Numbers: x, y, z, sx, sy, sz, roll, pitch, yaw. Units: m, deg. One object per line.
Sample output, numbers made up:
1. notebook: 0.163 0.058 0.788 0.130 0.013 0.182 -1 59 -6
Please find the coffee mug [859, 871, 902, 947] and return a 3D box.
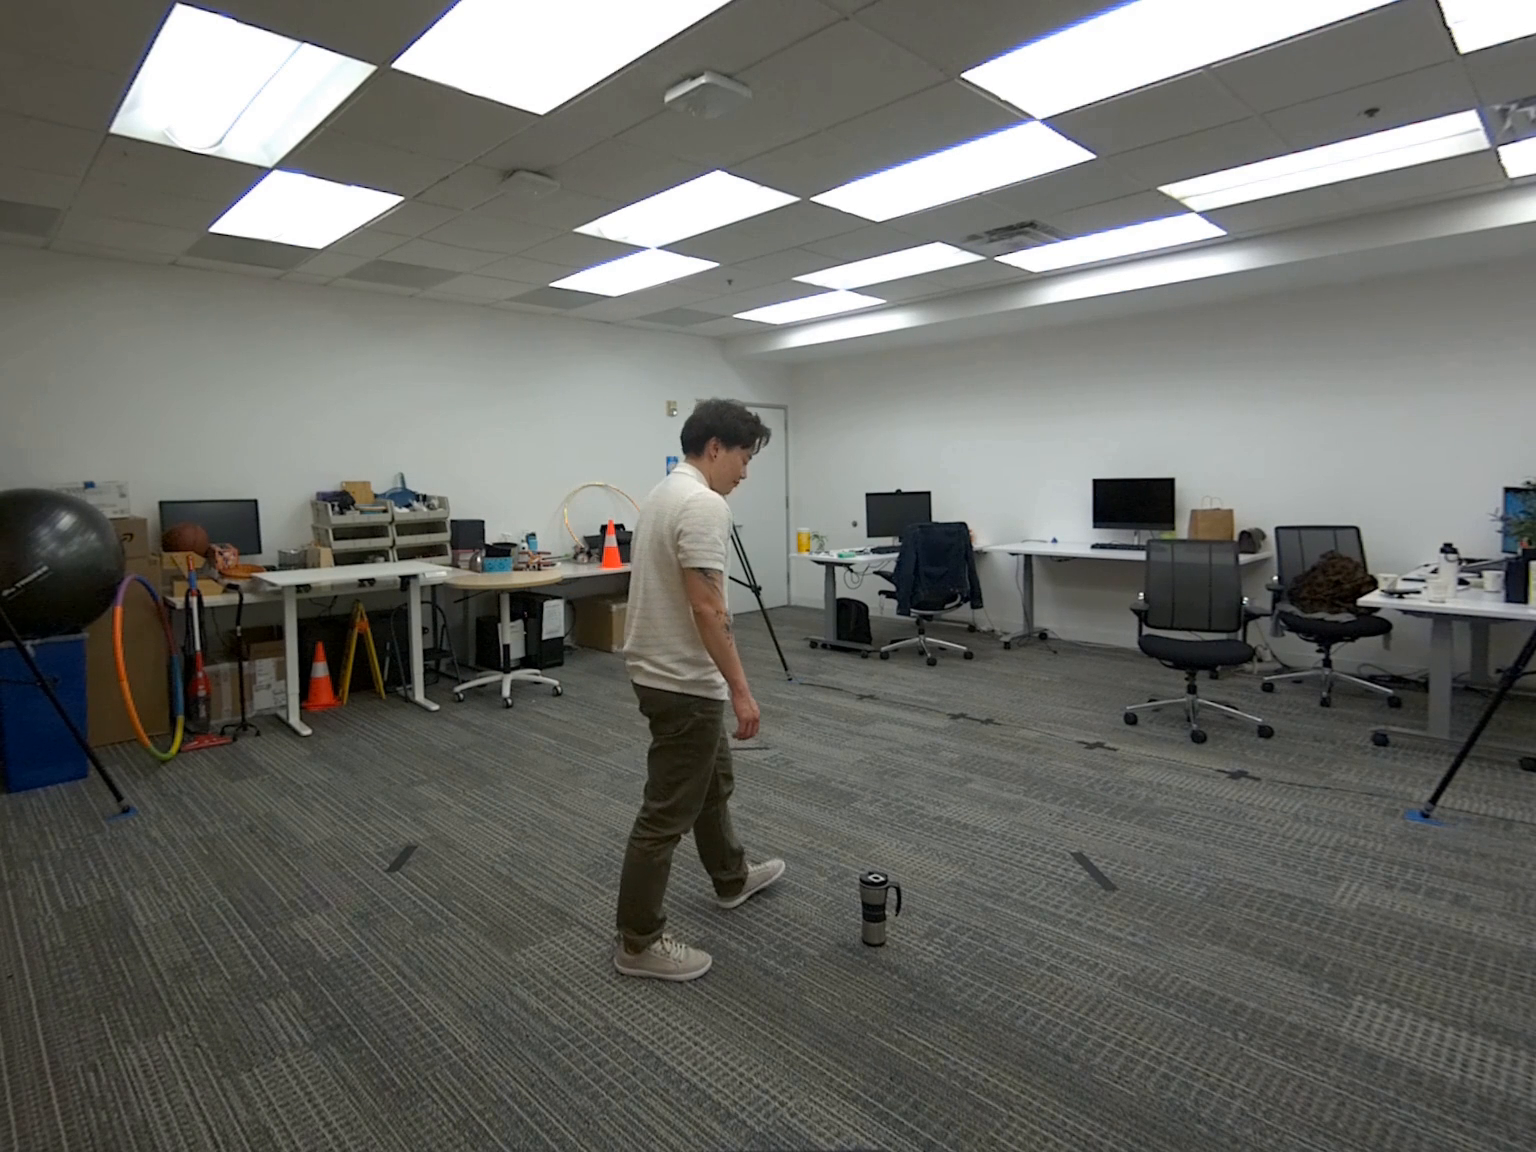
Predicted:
1. coffee mug: 0.342 1.002 2.547 0.125 0.203 0.085 1 1 32
